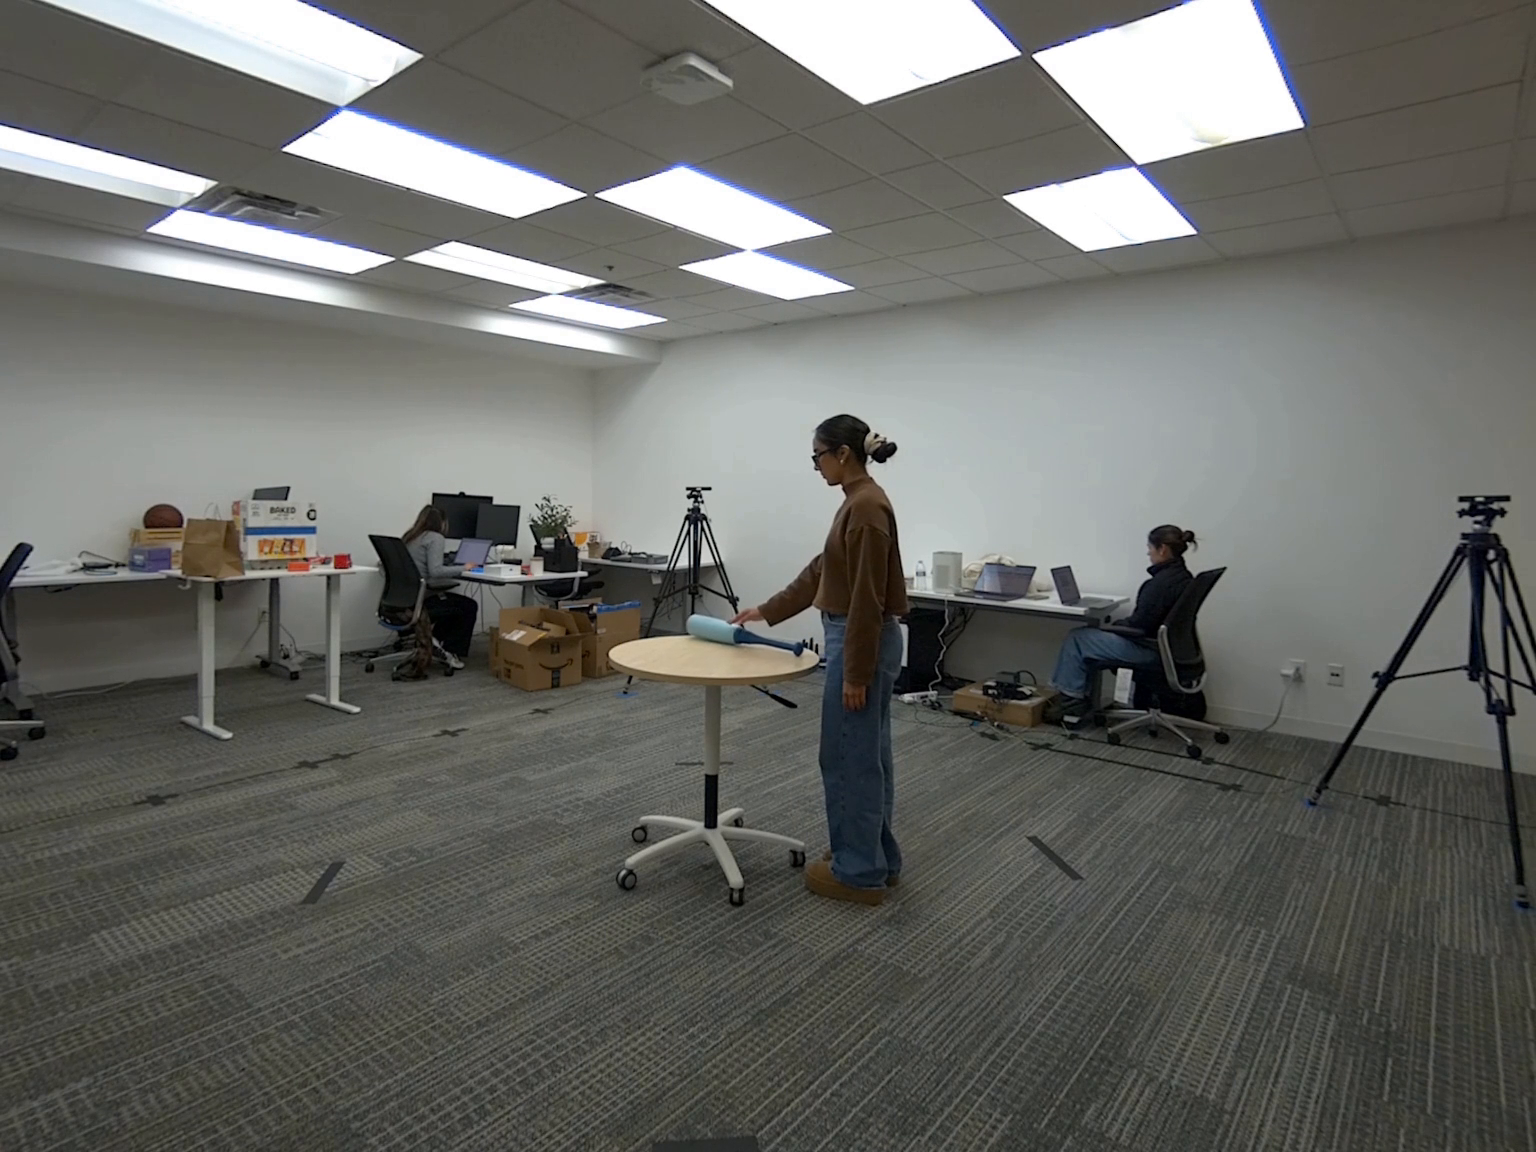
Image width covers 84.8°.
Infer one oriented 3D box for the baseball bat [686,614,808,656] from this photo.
[{"bbox_3d":[-0.104,0.233,3.268,0.562,0.088,0.086,10,9,38],"label":"baseball bat"}]
